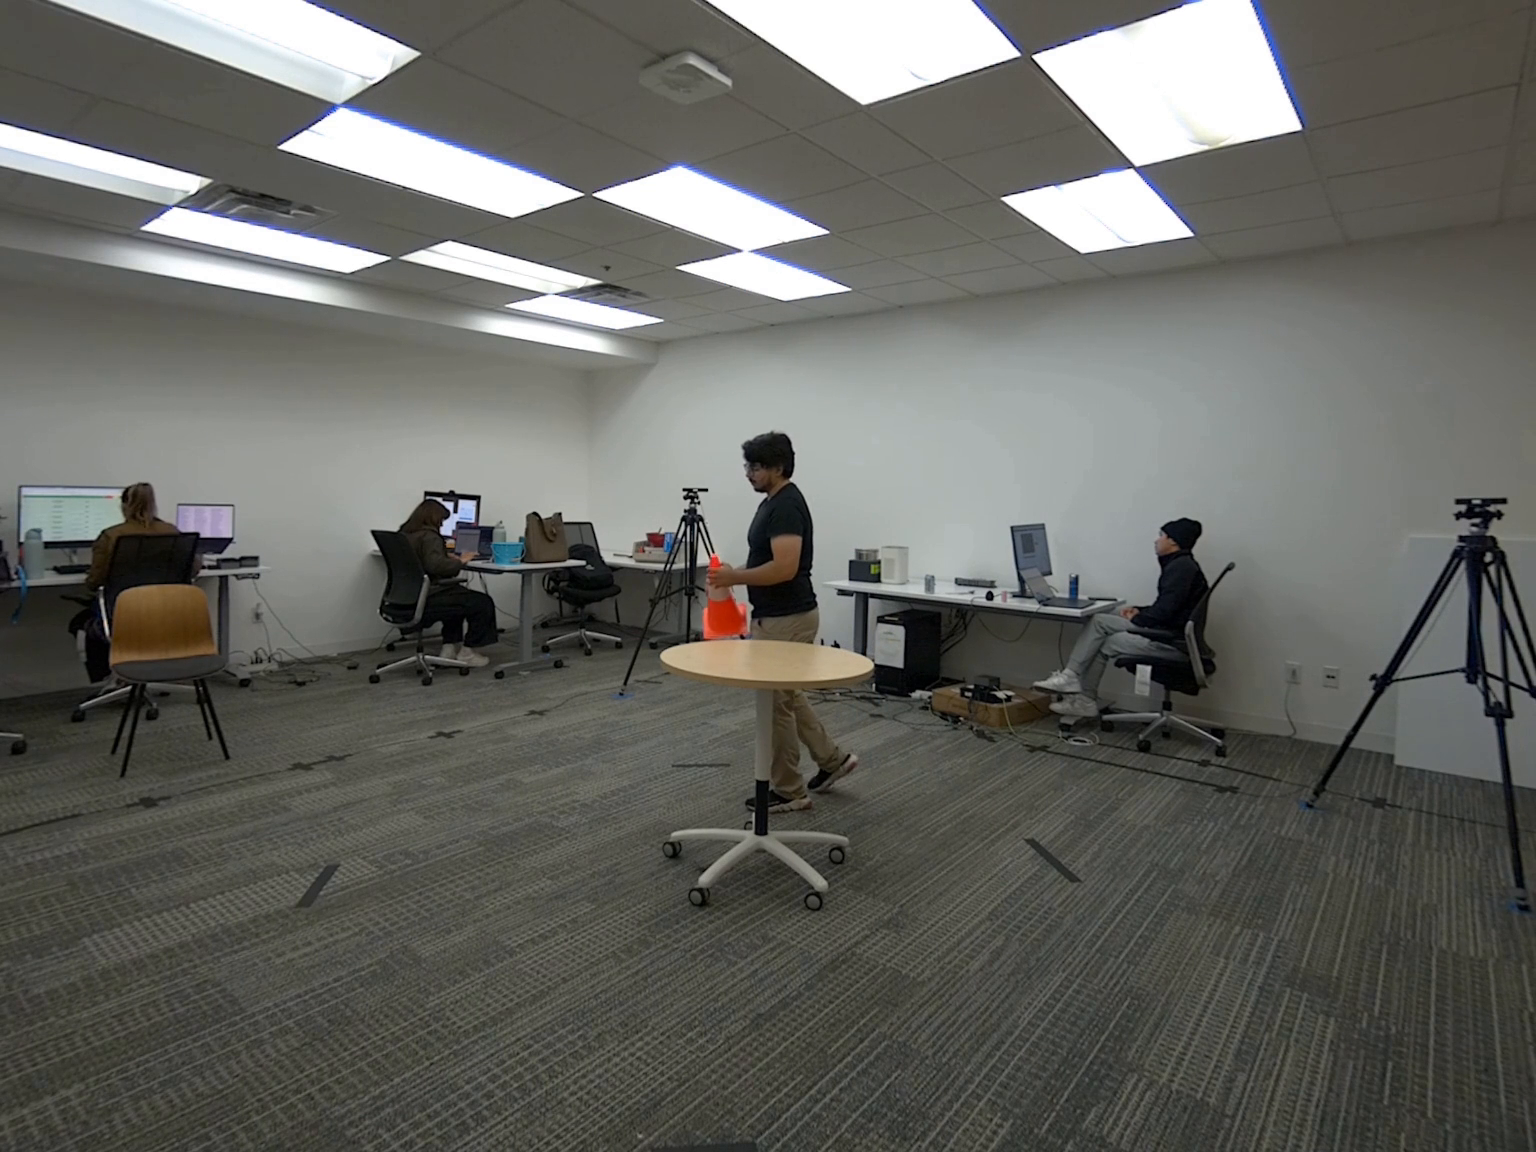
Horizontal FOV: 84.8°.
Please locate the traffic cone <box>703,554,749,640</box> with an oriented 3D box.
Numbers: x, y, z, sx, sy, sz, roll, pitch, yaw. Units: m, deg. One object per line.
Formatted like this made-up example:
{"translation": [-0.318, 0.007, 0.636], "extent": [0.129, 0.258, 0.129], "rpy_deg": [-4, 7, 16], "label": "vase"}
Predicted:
{"translation": [-0.225, 0.058, 3.763], "extent": [0.206, 0.371, 0.209], "rpy_deg": [-6, 37, 3], "label": "traffic cone"}
